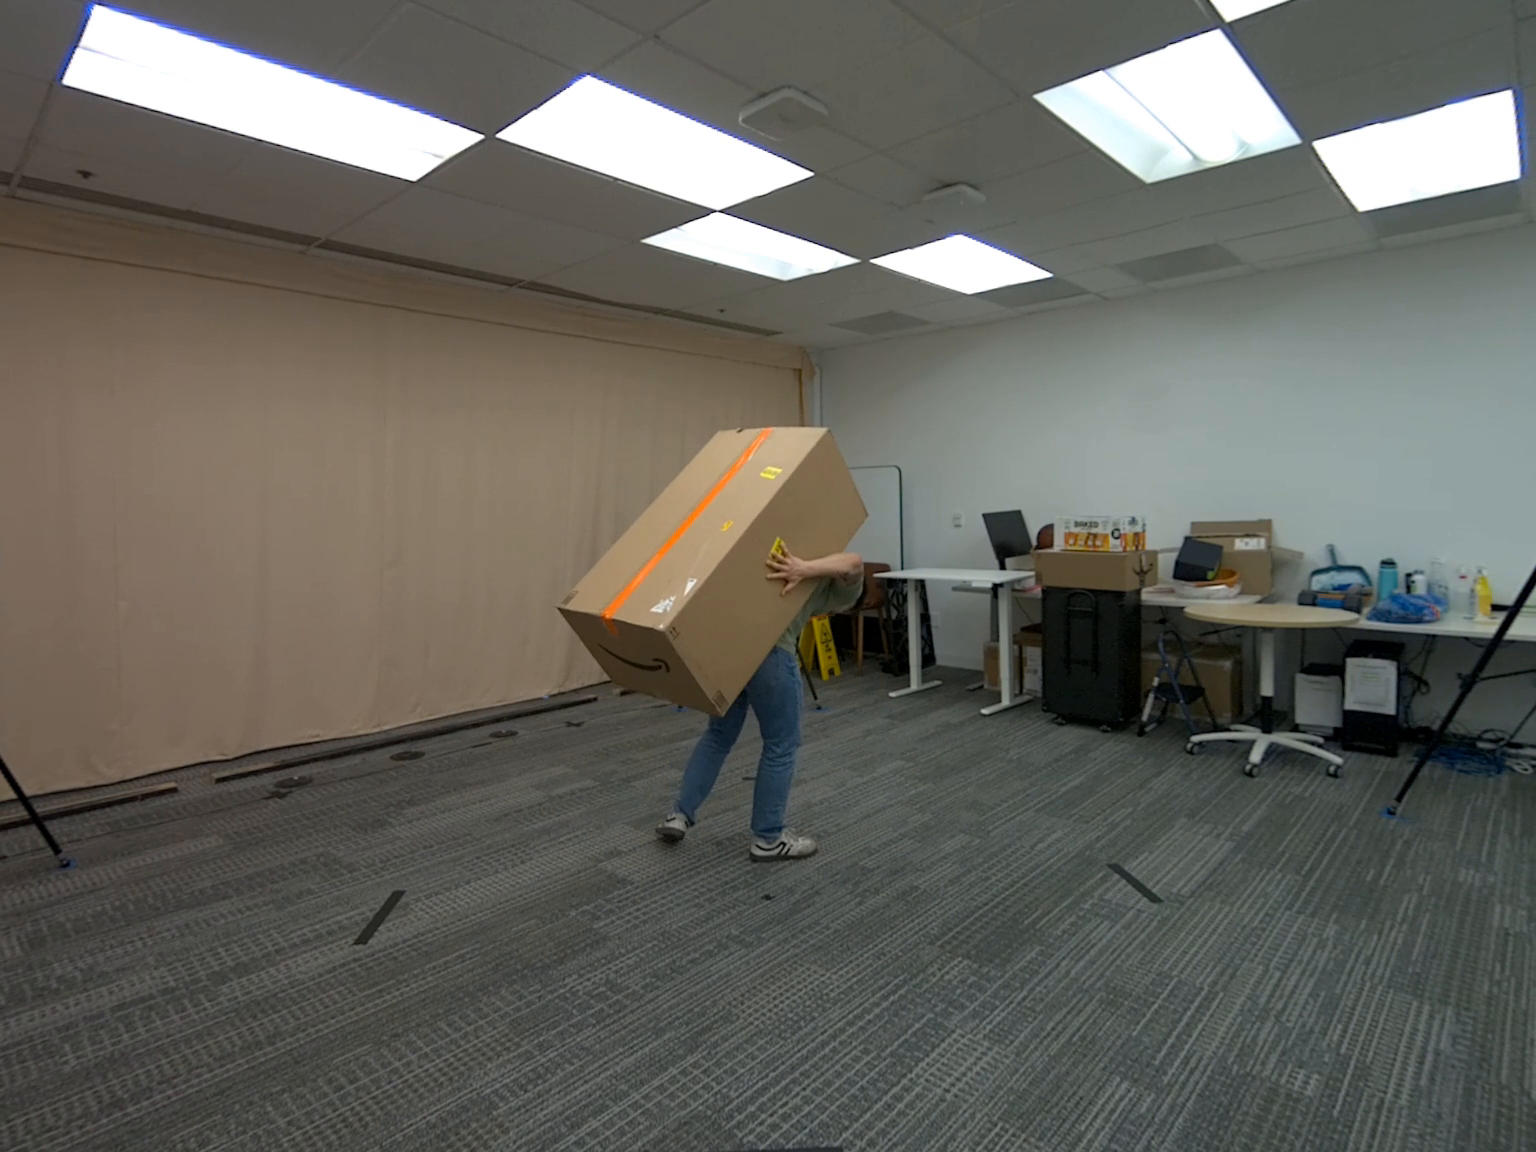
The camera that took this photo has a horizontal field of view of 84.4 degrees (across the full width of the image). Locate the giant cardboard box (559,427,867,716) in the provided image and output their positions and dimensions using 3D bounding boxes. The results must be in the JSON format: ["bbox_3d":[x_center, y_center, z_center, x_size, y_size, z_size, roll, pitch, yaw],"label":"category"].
[{"bbox_3d":[-0.177,-0.060,3.106,0.597,0.414,1.021,6,48,43],"label":"giant cardboard box"}]
